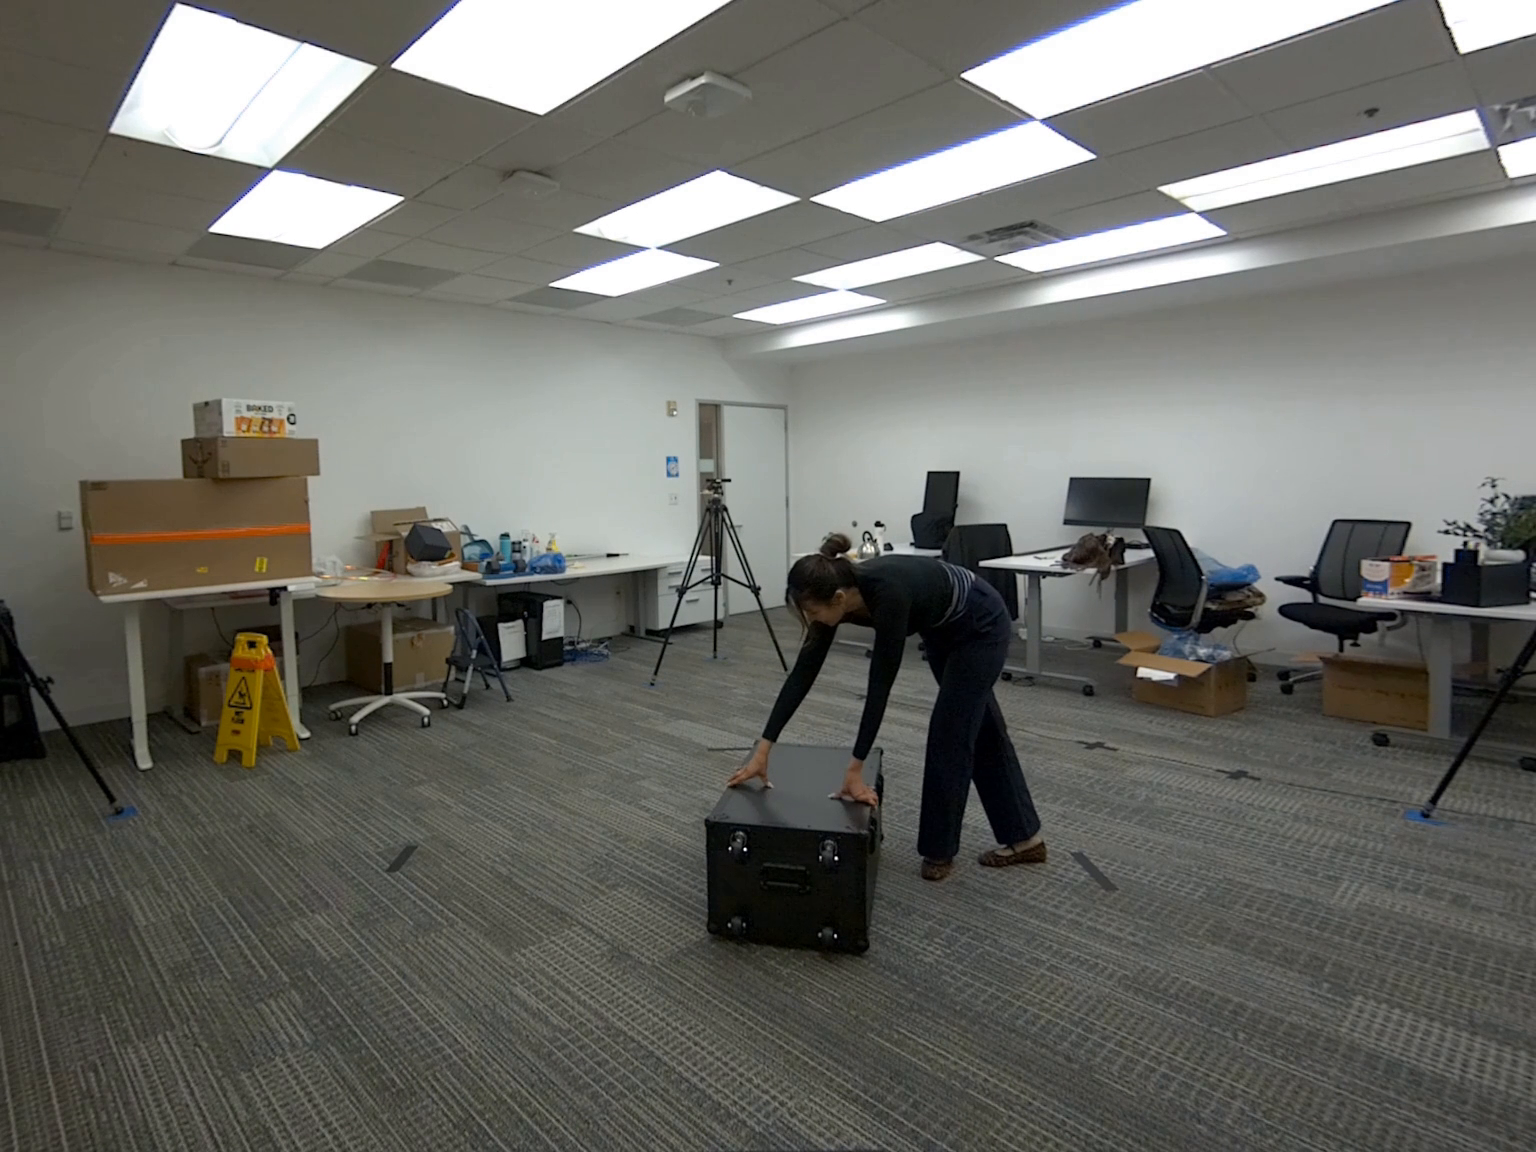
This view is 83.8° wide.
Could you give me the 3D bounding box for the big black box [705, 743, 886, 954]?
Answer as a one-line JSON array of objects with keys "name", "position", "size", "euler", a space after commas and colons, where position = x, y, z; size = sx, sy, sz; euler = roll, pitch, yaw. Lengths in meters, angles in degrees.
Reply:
[{"name": "big black box", "position": [0.111, 0.878, 2.860], "size": [0.528, 0.395, 0.854], "euler": [0, 5, 12]}]
